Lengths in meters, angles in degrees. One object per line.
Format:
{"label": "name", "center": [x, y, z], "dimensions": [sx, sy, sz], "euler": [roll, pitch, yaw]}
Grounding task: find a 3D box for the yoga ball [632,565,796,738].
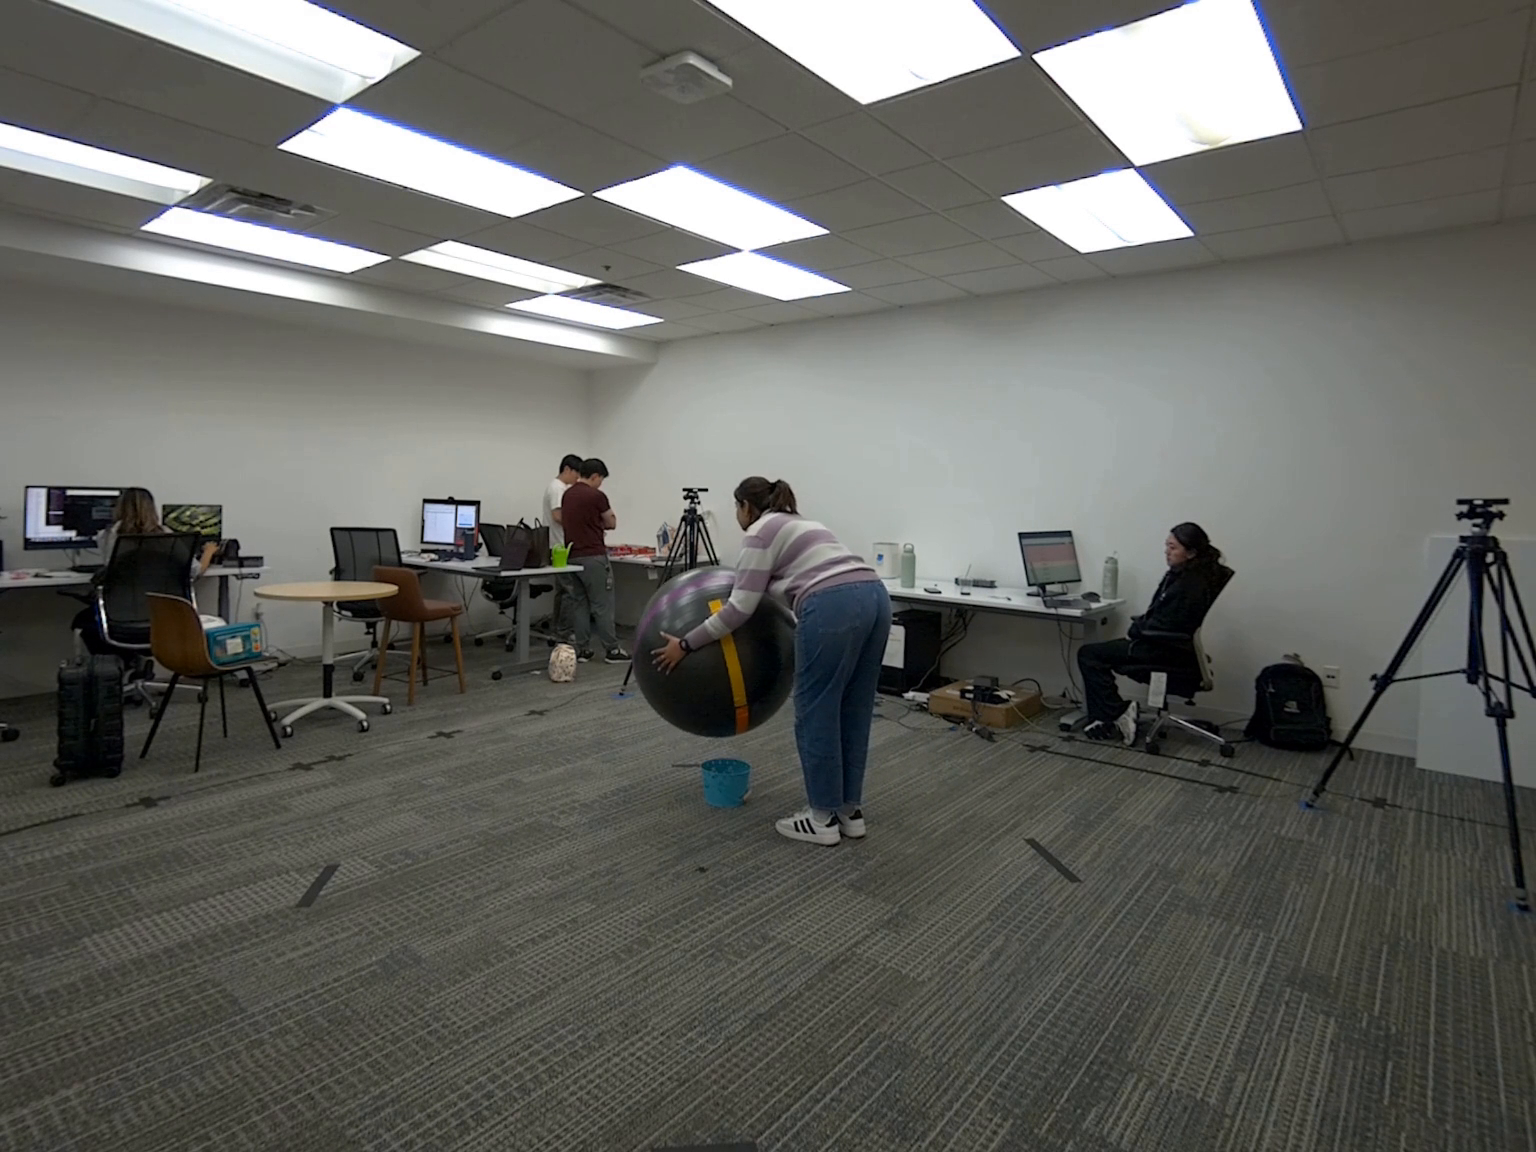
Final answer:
{"label": "yoga ball", "center": [-0.245, 0.336, 3.820], "dimensions": [0.757, 0.756, 0.761], "euler": [1, 4, -2]}
